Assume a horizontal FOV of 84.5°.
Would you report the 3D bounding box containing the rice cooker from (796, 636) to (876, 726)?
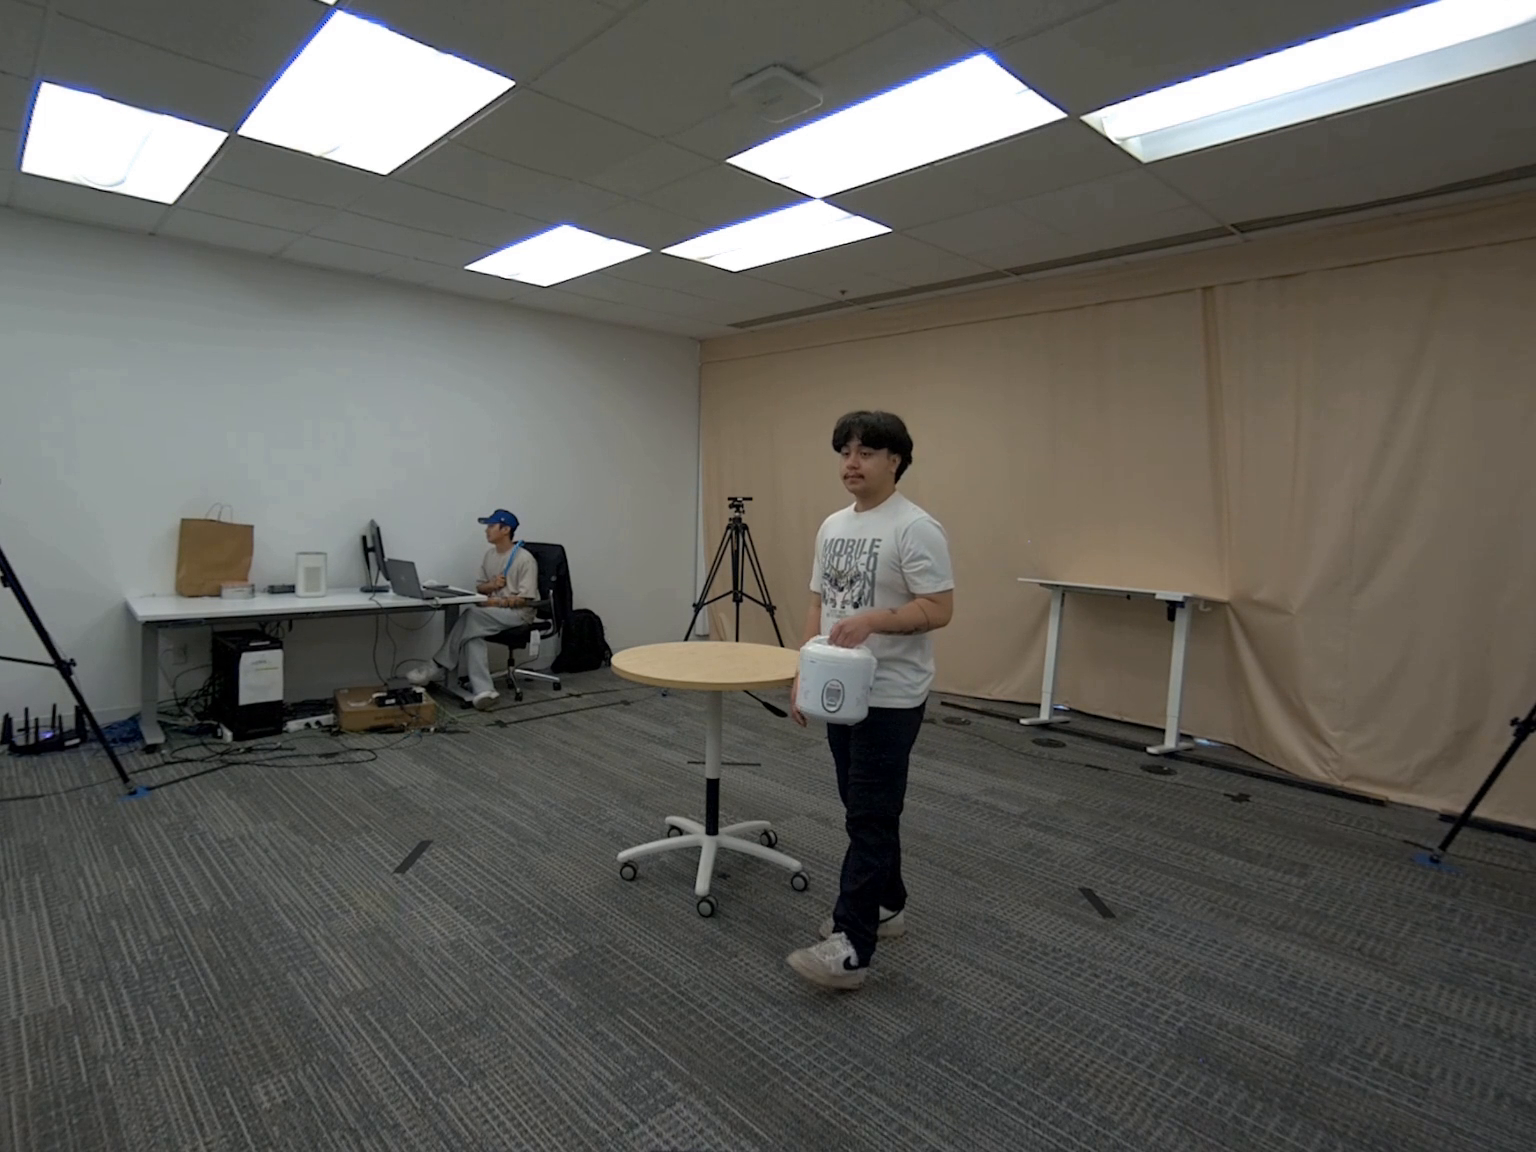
[{"bbox_3d":[0.184,0.288,2.359,0.222,0.233,0.216,6,0,7],"label":"rice cooker"}]
